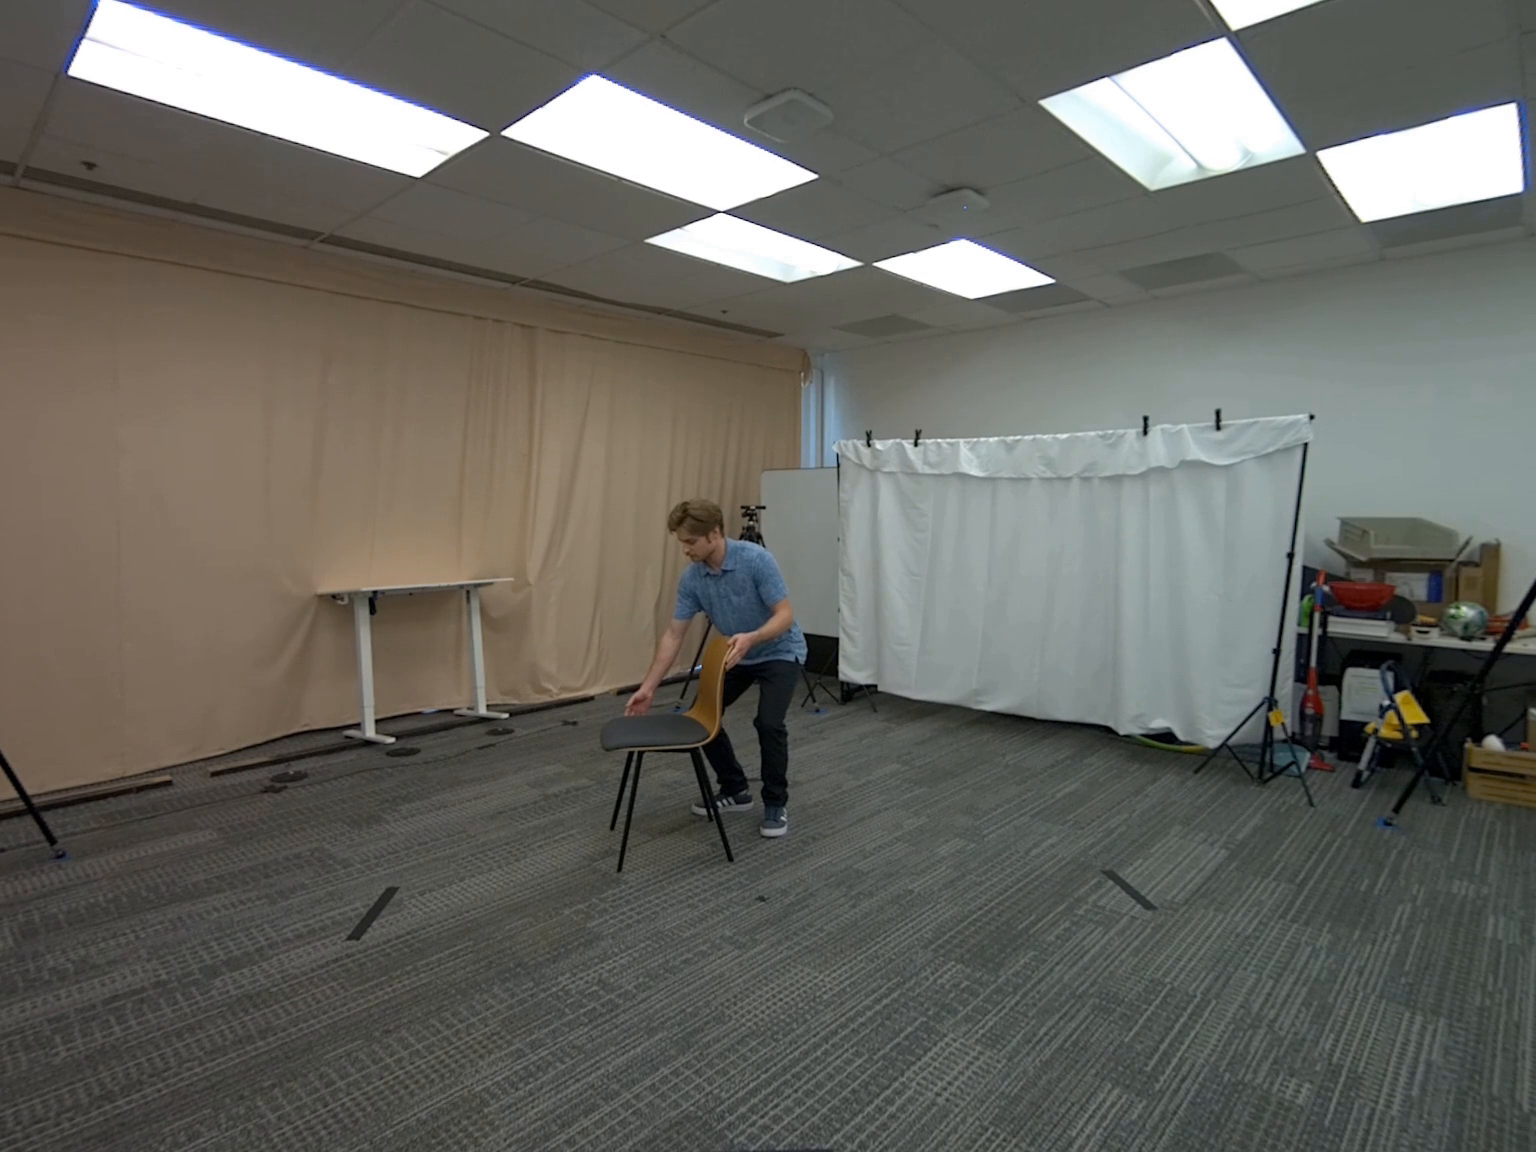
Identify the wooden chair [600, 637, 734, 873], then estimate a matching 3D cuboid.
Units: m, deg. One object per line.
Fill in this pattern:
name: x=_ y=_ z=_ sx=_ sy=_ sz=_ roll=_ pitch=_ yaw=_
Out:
wooden chair: x=-0.421 y=0.677 z=3.428 sx=0.516 sy=0.876 sz=0.486 roll=3 pitch=3 yaw=-14
